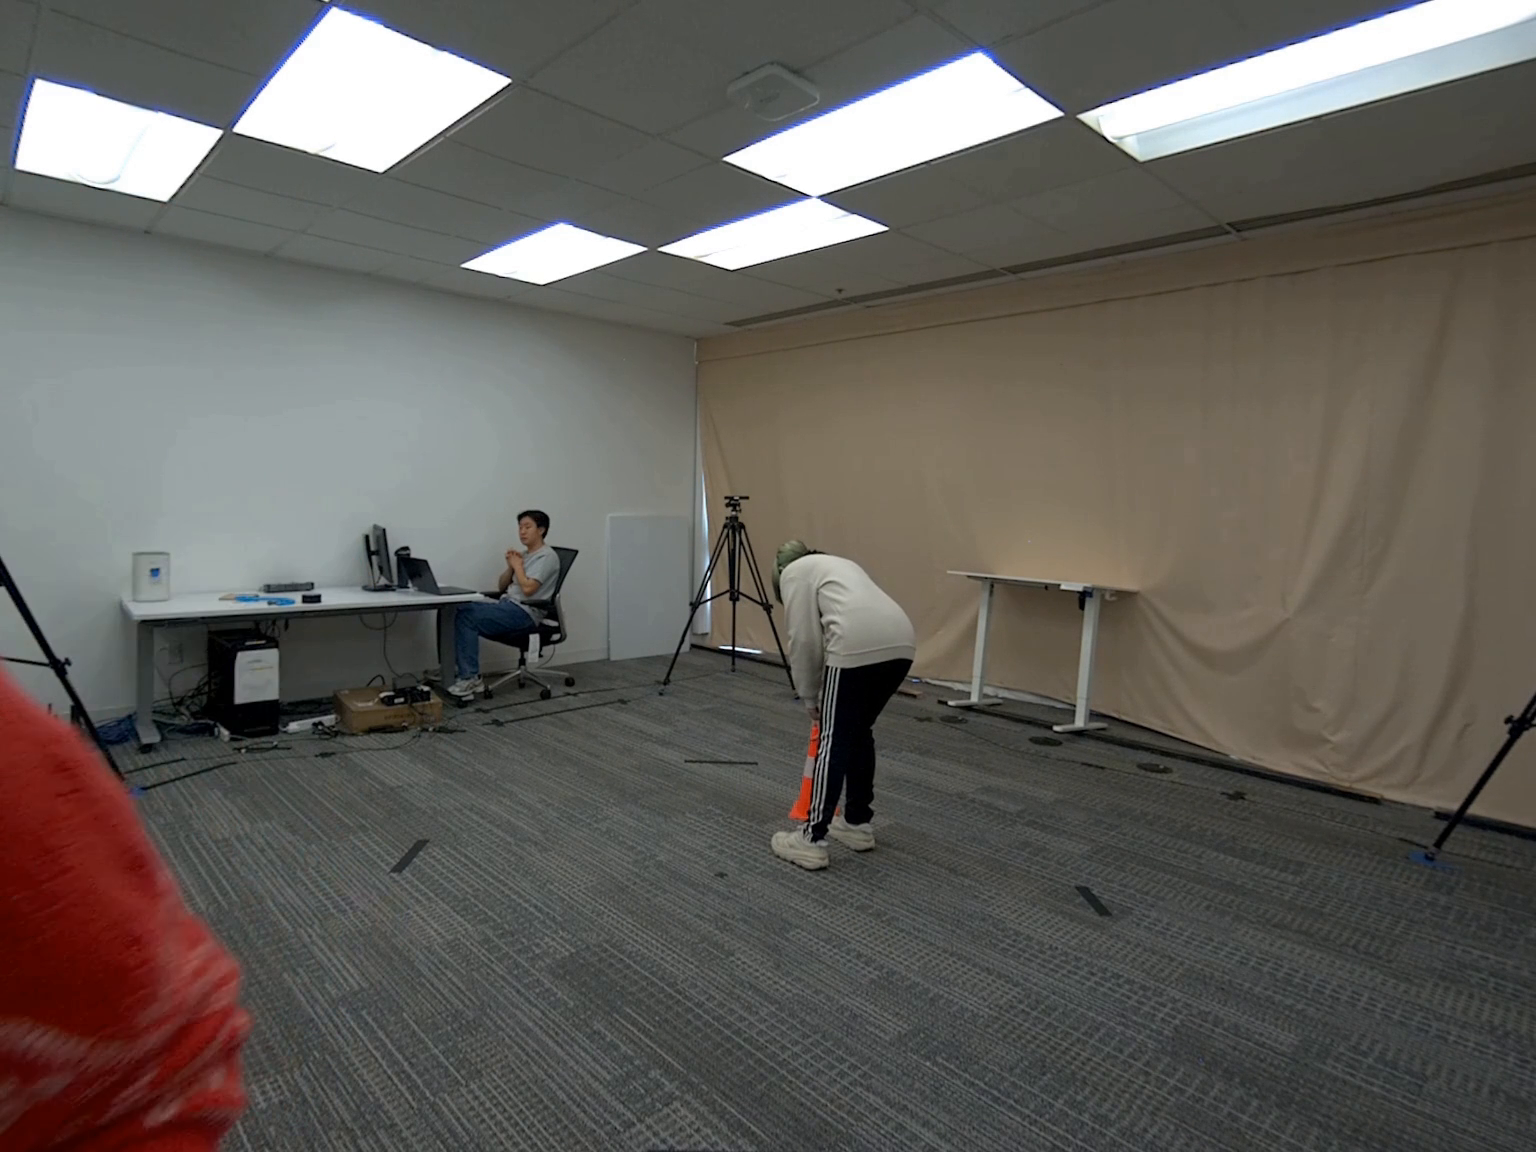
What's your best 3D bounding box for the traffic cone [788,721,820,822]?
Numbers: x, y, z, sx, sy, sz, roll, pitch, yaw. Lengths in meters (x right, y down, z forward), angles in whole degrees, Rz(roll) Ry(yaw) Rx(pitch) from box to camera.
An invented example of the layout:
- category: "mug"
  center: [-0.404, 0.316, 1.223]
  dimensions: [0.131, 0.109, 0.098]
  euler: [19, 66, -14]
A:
- category: "traffic cone"
  center: [0.199, 0.859, 3.746]
  dimensions: [0.206, 0.382, 0.203]
  euler: [4, 5, 13]
